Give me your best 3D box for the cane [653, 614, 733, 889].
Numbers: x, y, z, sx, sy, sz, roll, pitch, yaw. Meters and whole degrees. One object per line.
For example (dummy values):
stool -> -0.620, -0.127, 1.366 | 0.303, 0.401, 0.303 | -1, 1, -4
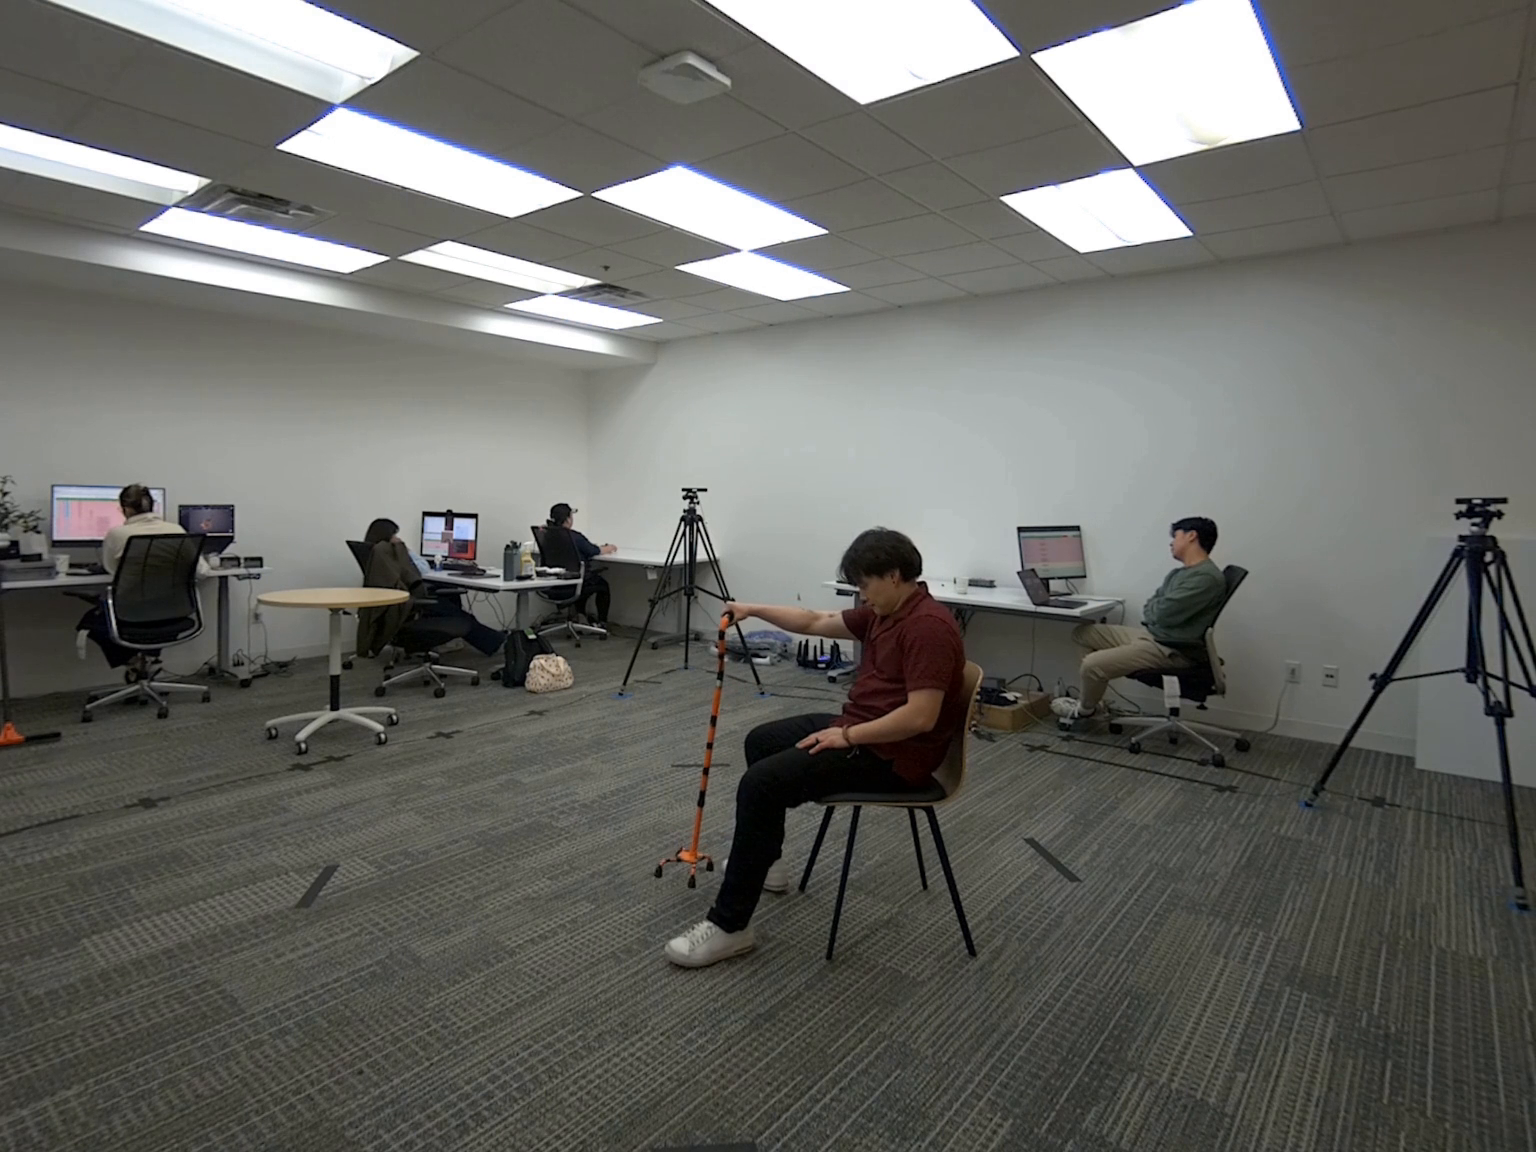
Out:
cane -> -0.226, 0.575, 2.940 | 0.155, 0.908, 0.202 | 8, -1, 18
